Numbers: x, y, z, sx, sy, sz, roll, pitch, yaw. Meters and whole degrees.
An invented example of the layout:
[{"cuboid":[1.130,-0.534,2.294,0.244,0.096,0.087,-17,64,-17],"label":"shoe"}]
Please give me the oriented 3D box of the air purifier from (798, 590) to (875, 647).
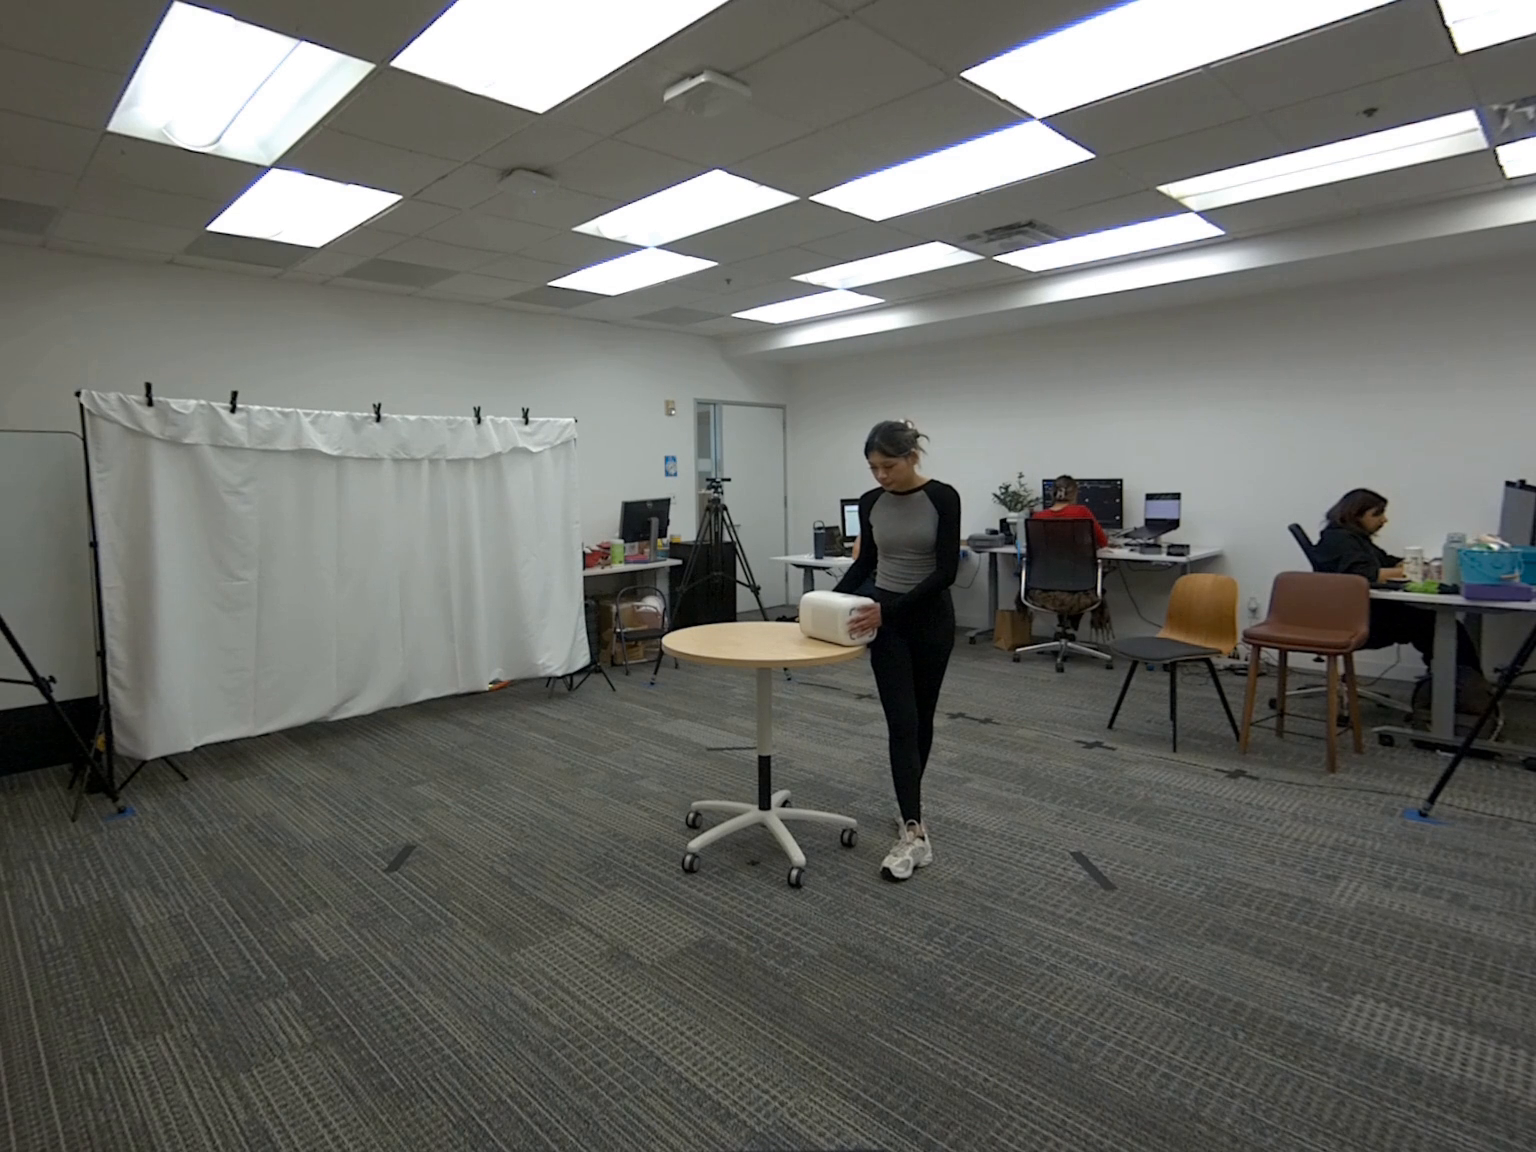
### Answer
[{"cuboid":[0.265,0.154,3.151,0.167,0.171,0.273,-2,5,-32],"label":"air purifier"}]
